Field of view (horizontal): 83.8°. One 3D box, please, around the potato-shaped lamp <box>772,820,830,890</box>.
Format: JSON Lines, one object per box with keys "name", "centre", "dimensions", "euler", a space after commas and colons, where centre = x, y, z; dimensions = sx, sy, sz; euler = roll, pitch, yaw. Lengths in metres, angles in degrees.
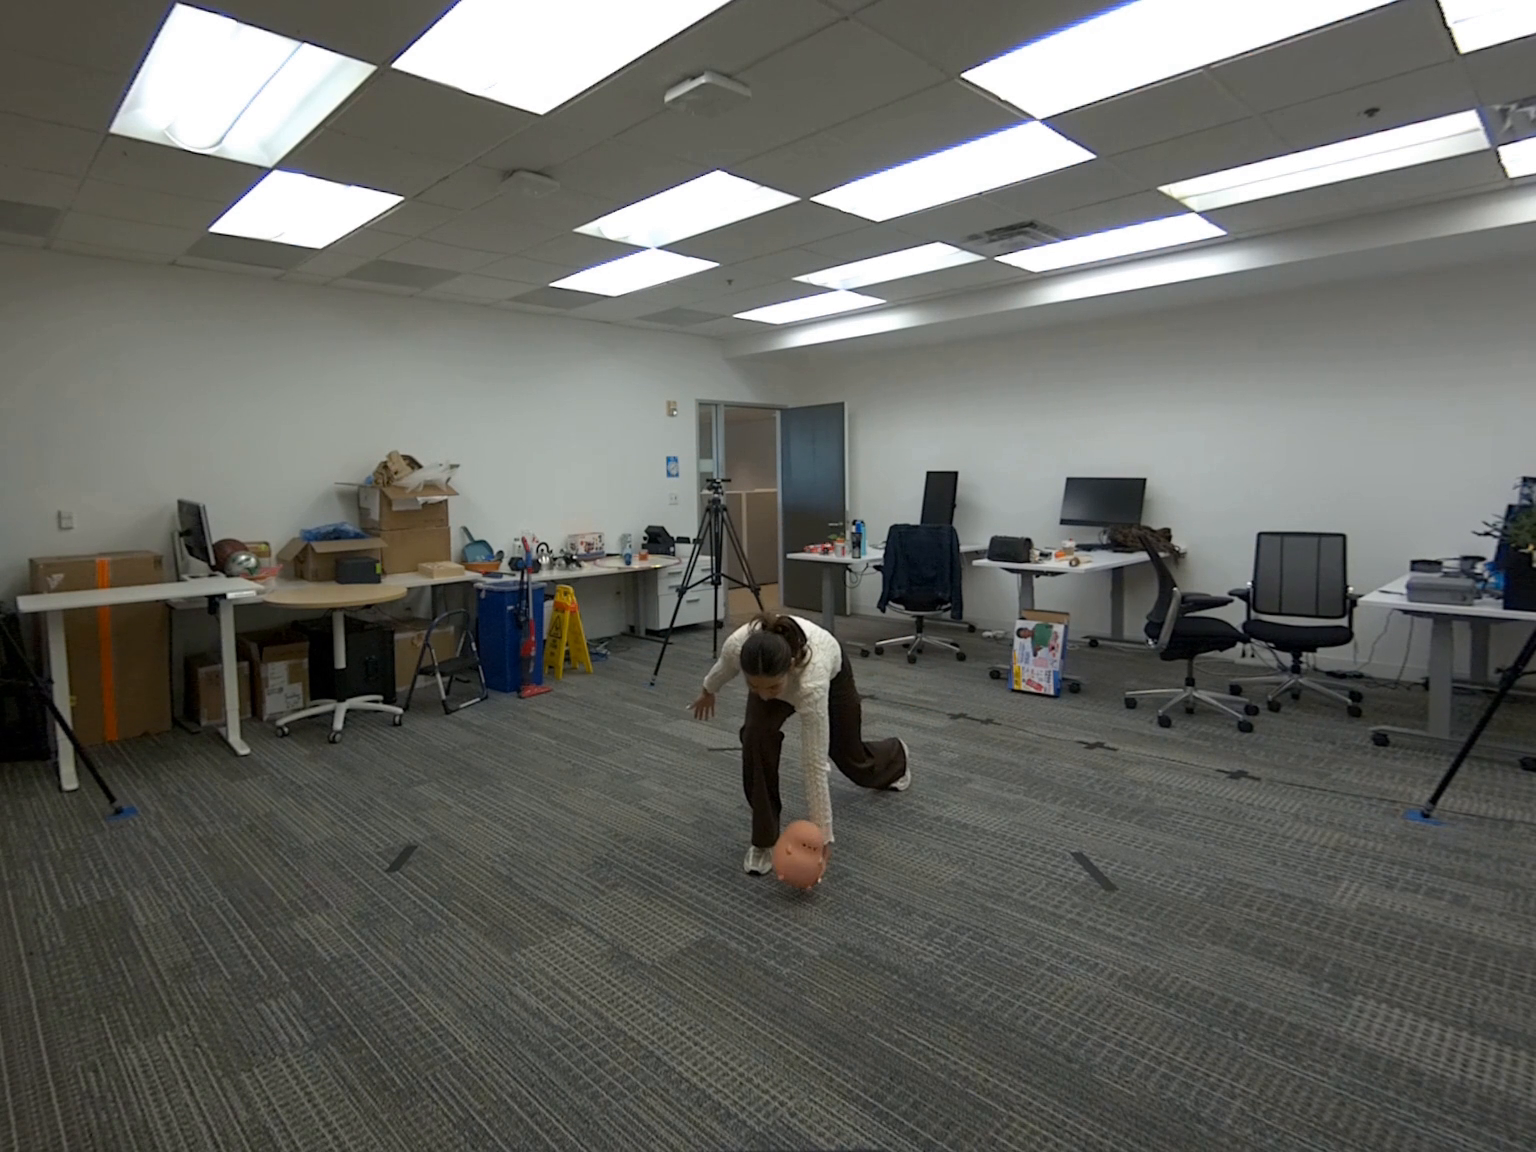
{"name": "potato-shaped lamp", "centre": [0.104, 0.921, 2.847], "dimensions": [0.163, 0.198, 0.173], "euler": [18, -2, -9]}
